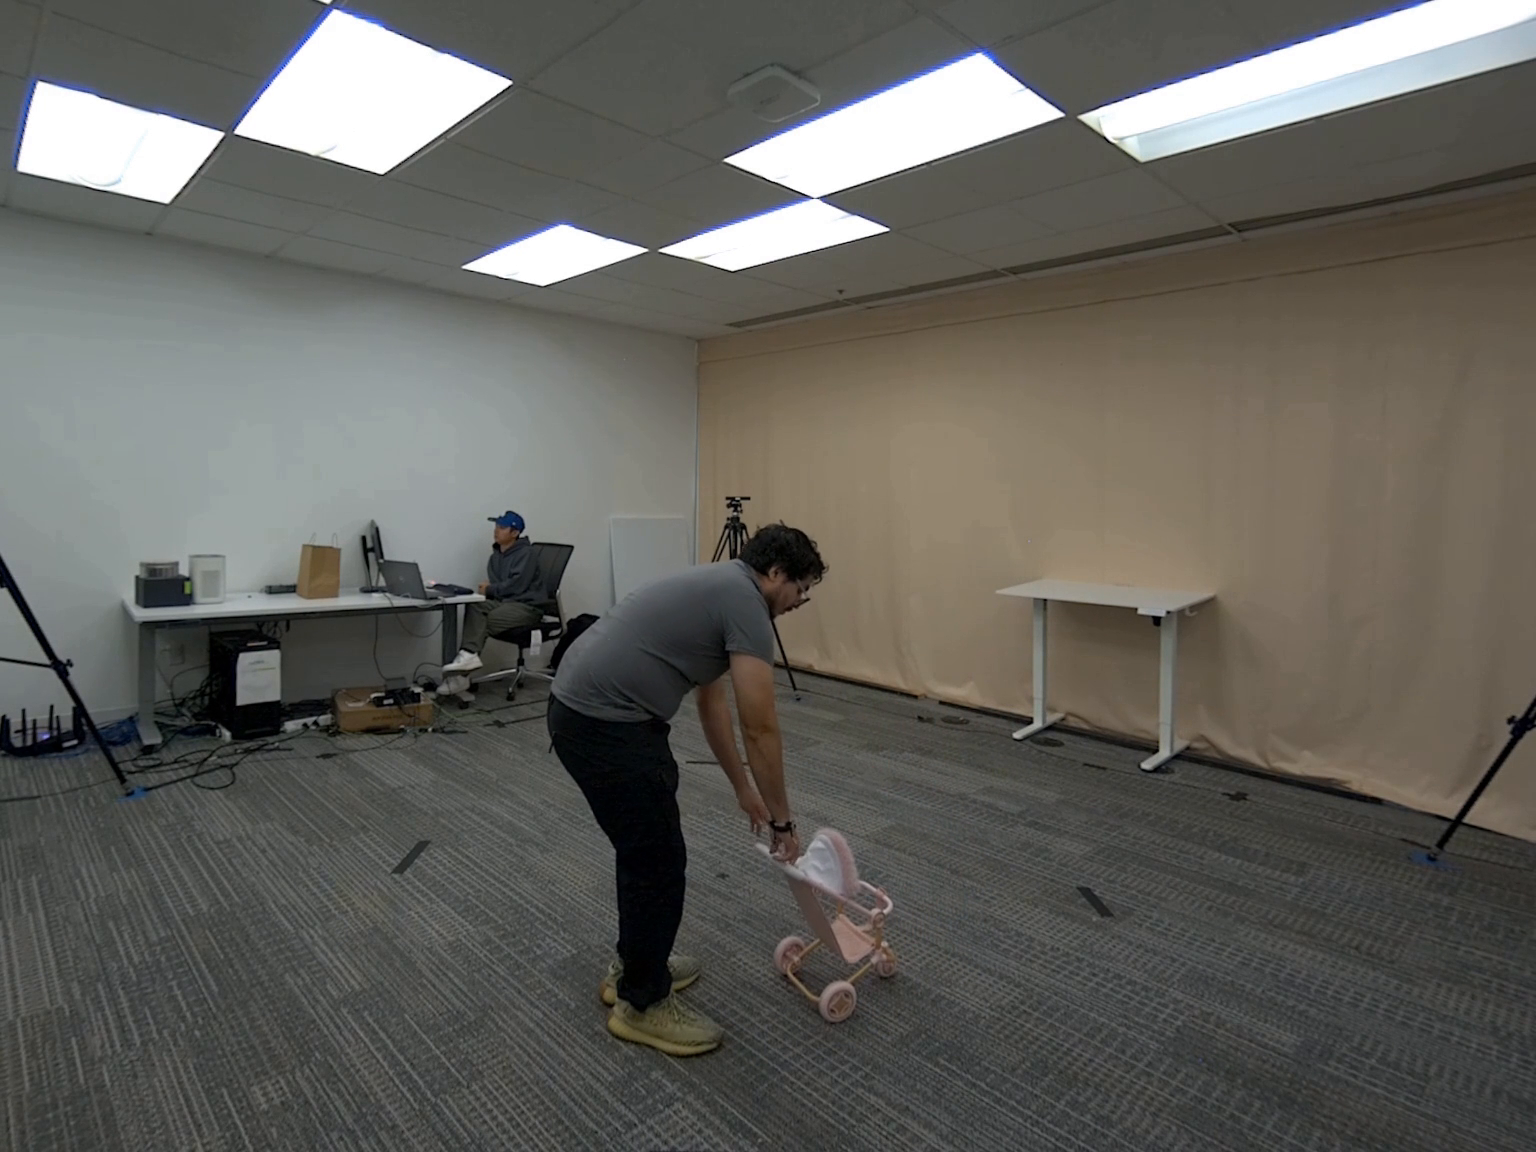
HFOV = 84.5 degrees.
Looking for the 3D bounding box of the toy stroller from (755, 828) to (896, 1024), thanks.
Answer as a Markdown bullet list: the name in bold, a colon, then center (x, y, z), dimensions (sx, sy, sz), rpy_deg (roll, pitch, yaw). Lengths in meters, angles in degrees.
- **toy stroller**: center (0.185, 0.953, 2.378), dimensions (0.337, 0.531, 0.287), rpy_deg (-16, 9, -23)
